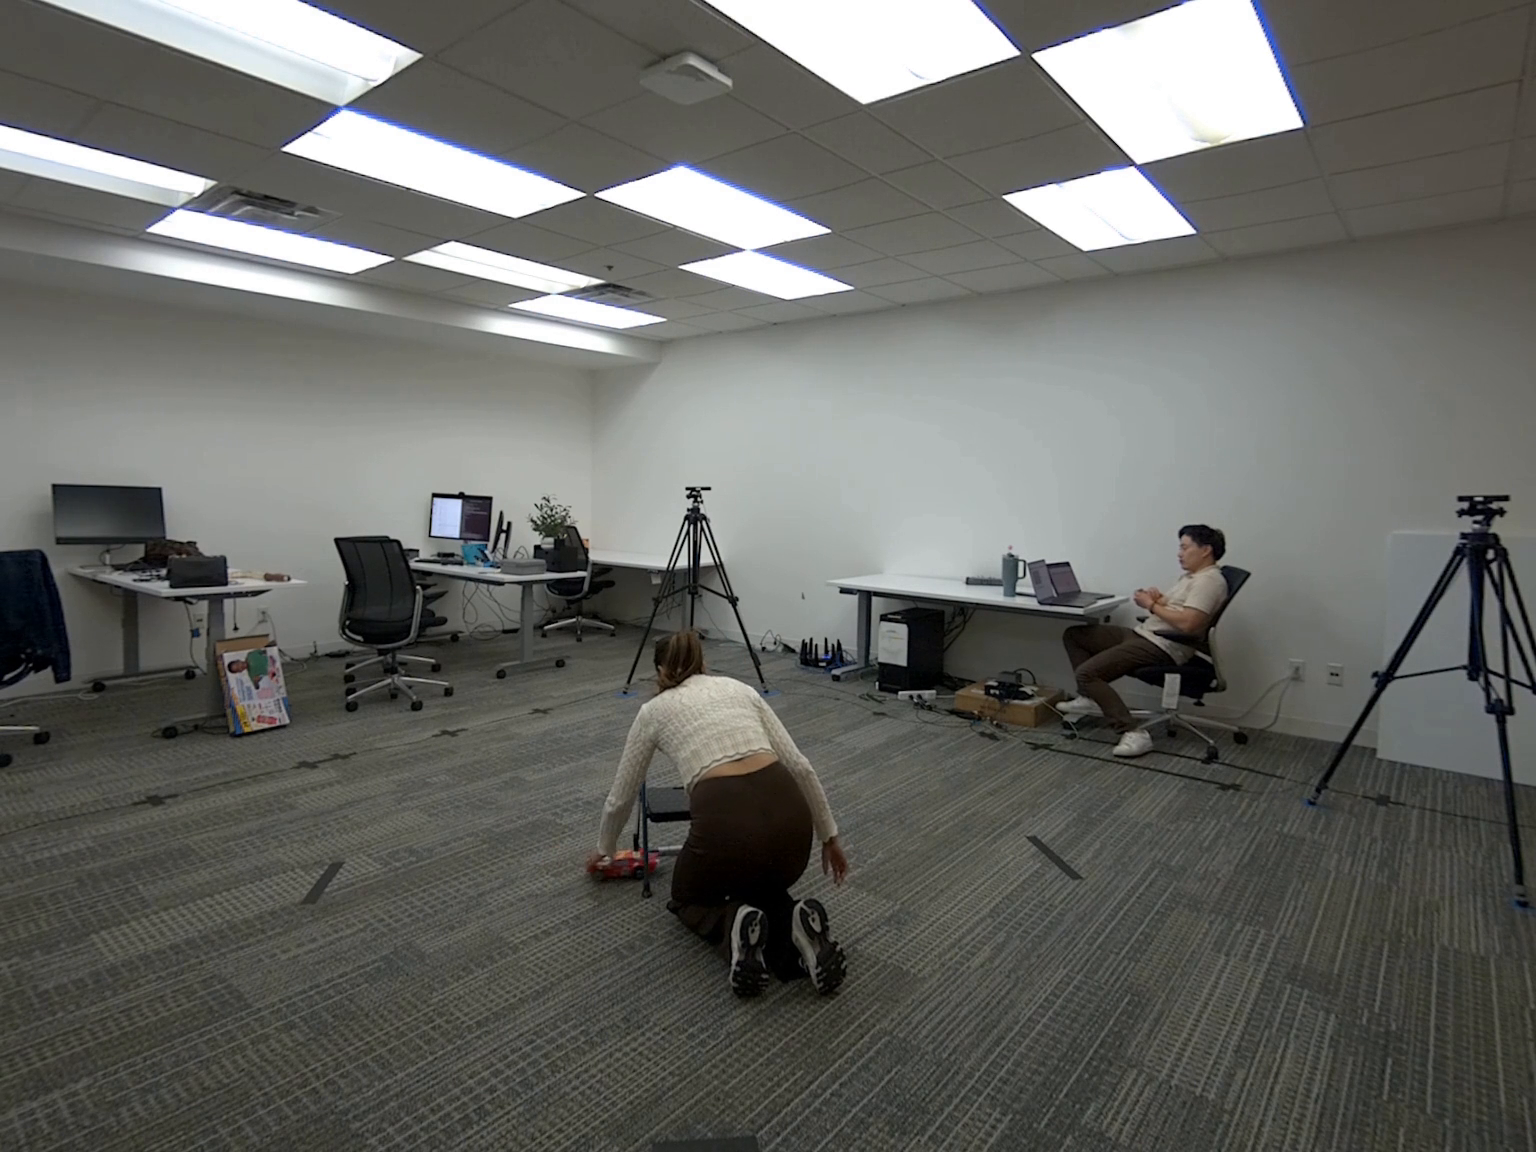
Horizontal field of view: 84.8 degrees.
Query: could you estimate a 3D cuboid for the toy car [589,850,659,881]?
[{"bbox_3d":[-0.528,1.037,3.049,0.253,0.082,0.132,-12,8,-7],"label":"toy car"}]
